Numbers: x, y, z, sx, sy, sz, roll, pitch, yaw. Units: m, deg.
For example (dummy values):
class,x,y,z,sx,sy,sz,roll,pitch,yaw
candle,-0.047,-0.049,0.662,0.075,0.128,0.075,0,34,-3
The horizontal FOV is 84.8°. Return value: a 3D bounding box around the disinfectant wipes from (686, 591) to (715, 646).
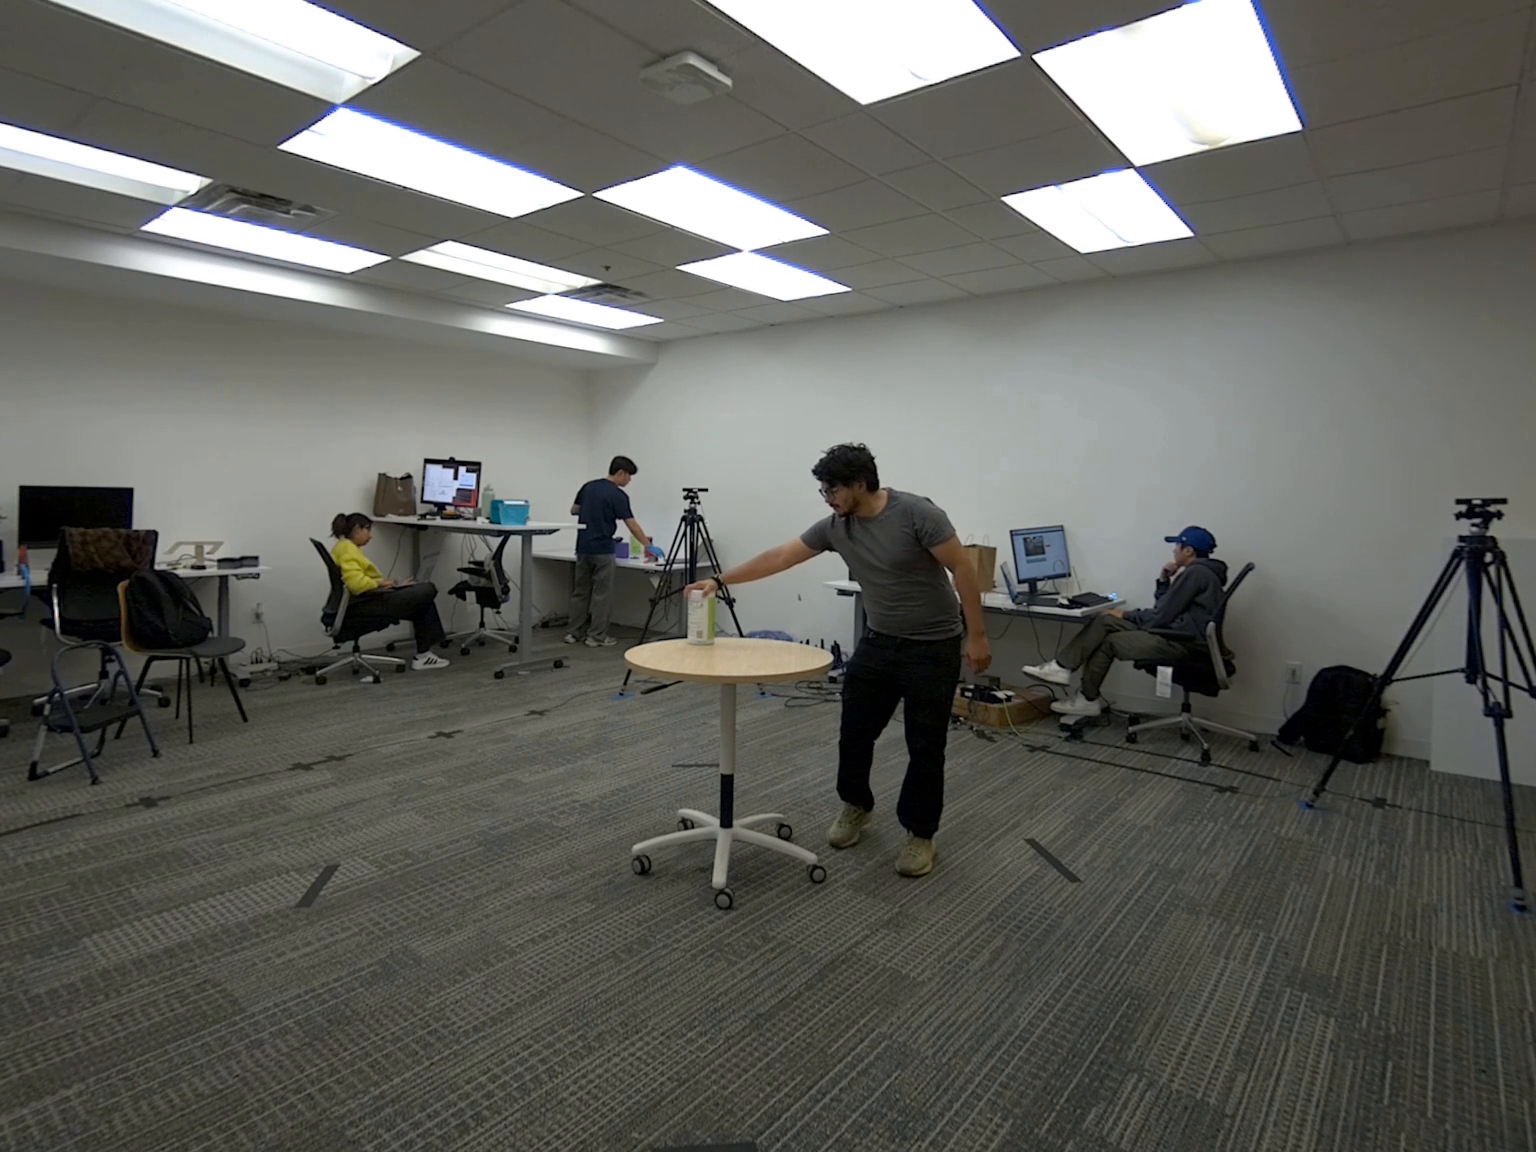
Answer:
class,x,y,z,sx,sy,sz,roll,pitch,yaw
disinfectant wipes,-0.274,0.159,3.372,0.118,0.218,0.118,1,-2,-2
